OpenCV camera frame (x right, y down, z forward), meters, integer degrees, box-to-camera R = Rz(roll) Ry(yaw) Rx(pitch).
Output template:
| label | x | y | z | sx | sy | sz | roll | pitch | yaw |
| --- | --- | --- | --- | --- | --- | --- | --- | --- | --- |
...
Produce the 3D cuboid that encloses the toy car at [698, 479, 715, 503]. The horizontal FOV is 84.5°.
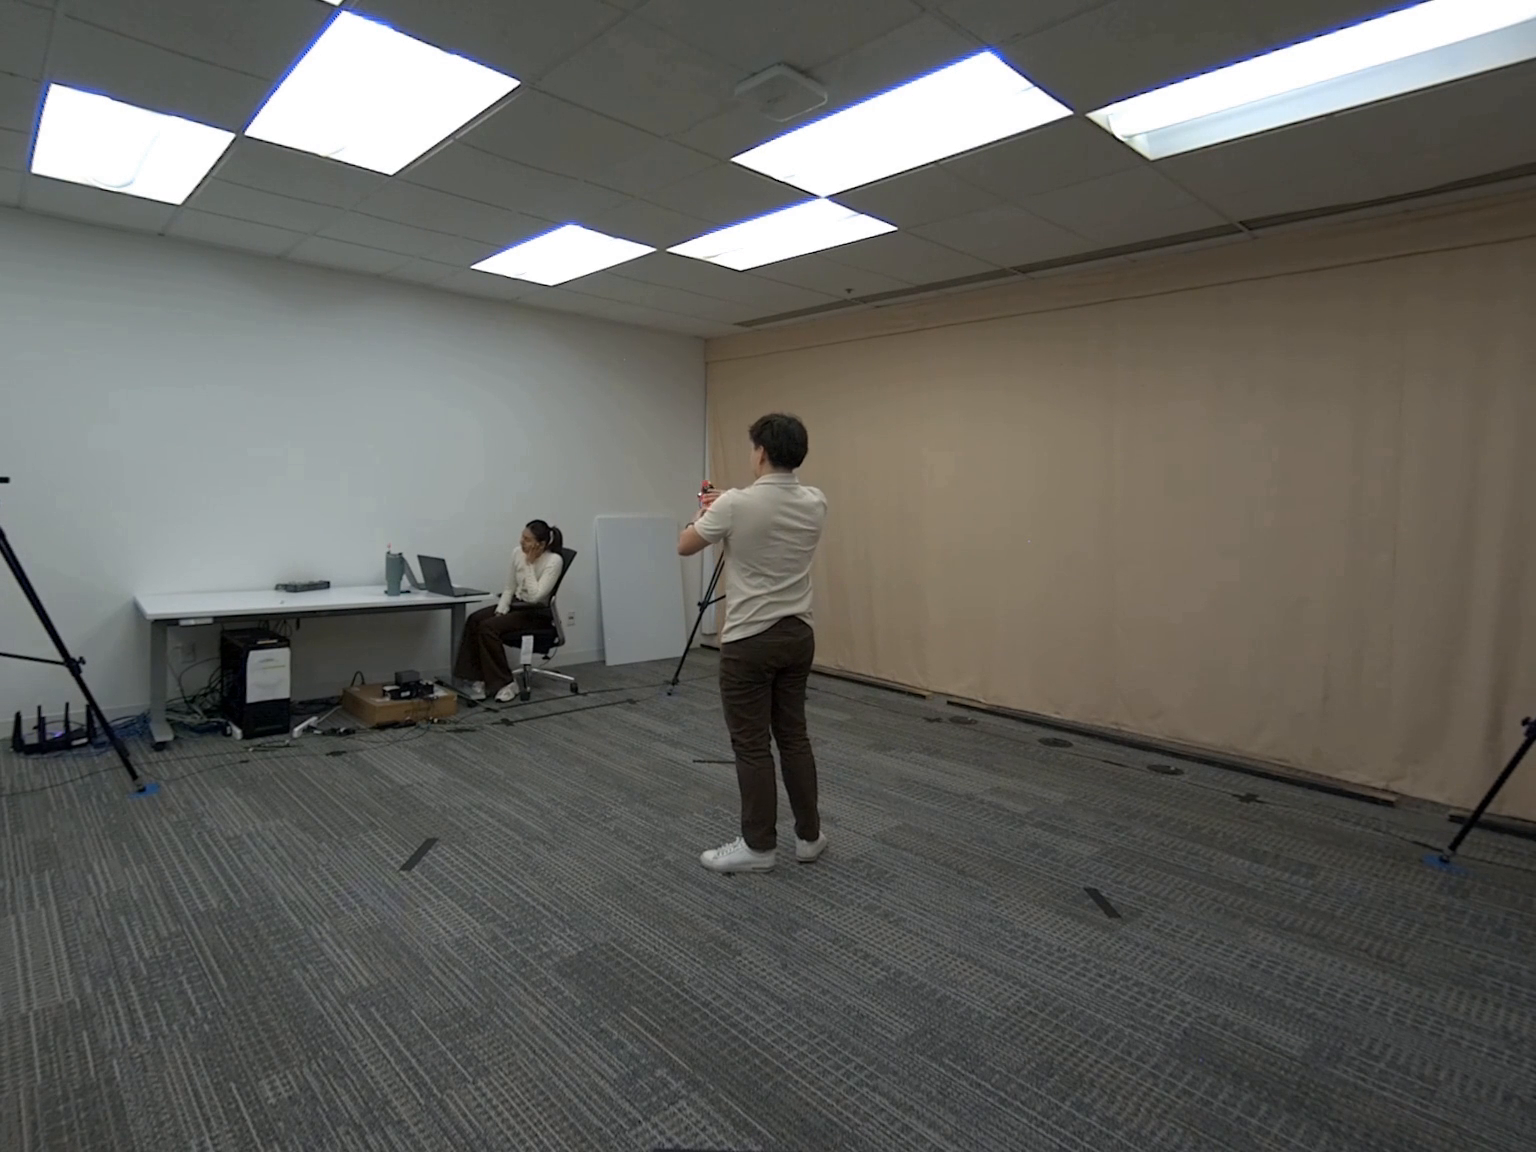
| label | x | y | z | sx | sy | sz | roll | pitch | yaw |
| --- | --- | --- | --- | --- | --- | --- | --- | --- | --- |
| toy car | -0.244 | -0.293 | 3.483 | 0.083 | 0.261 | 0.126 | -23 | -42 | 9 |
